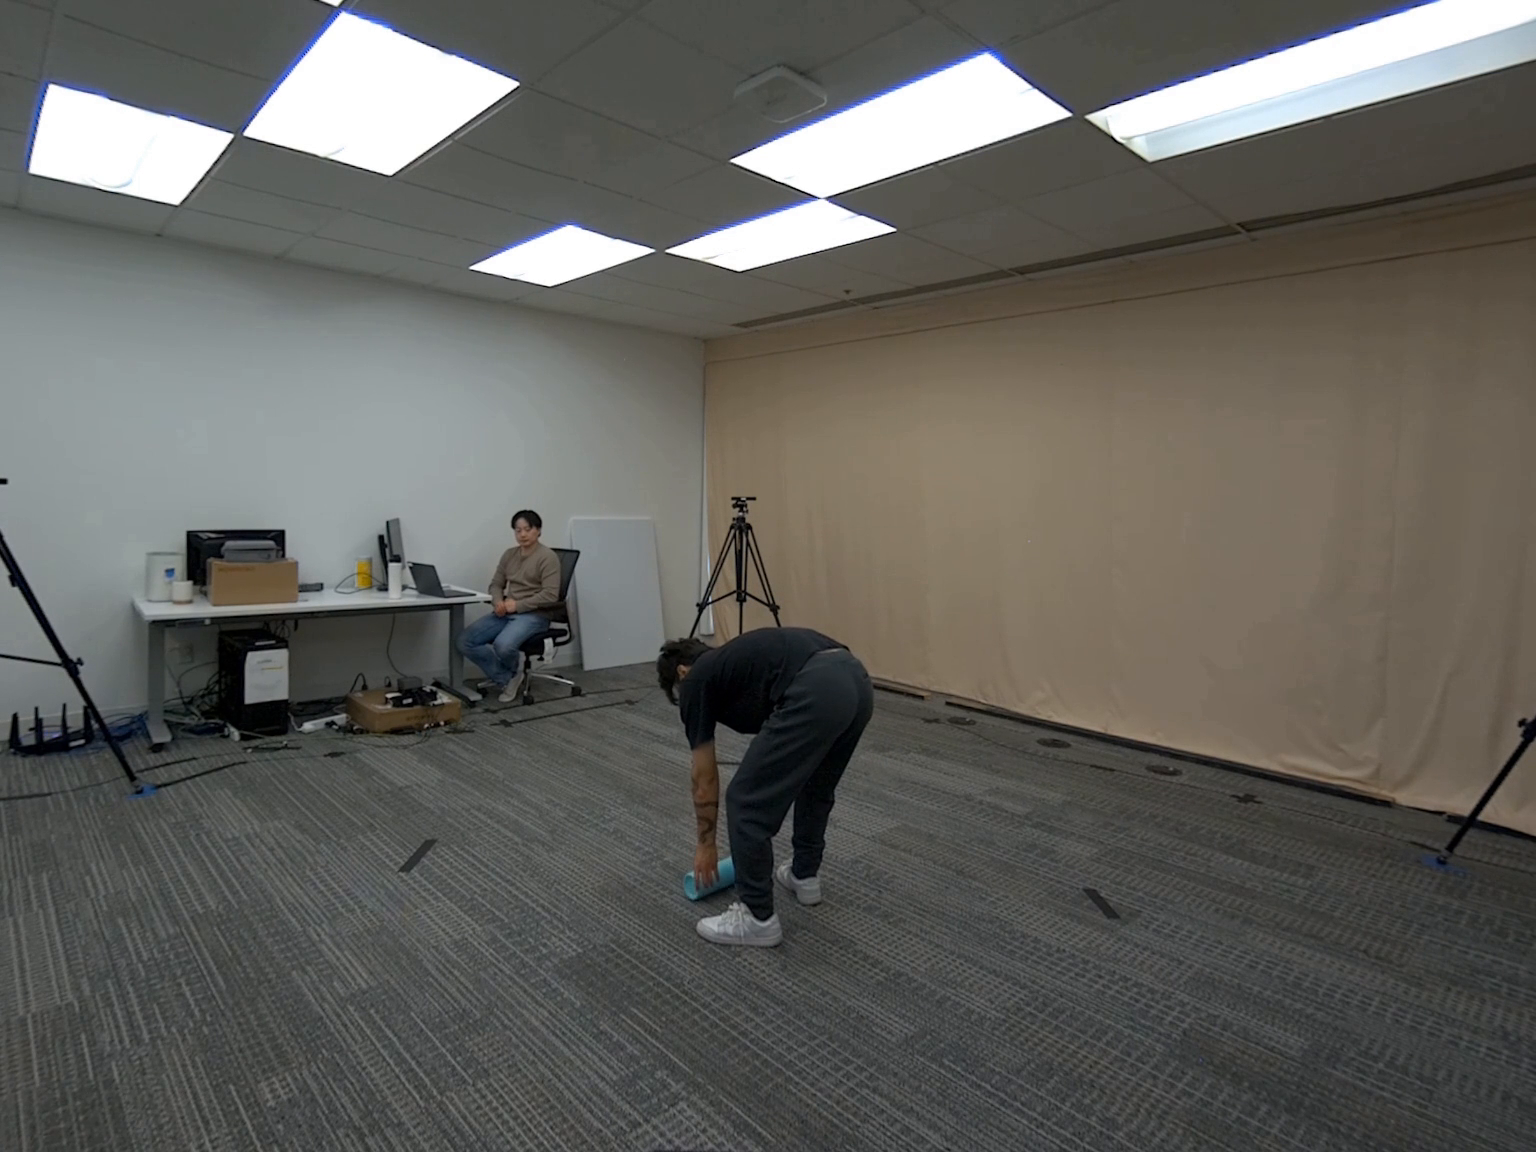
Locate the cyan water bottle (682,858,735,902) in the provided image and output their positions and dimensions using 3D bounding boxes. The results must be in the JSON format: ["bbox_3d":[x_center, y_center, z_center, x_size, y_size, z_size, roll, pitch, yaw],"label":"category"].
[{"bbox_3d":[-0.172,1.063,2.999,0.277,0.092,0.095,-5,8,-43],"label":"cyan water bottle"}]
